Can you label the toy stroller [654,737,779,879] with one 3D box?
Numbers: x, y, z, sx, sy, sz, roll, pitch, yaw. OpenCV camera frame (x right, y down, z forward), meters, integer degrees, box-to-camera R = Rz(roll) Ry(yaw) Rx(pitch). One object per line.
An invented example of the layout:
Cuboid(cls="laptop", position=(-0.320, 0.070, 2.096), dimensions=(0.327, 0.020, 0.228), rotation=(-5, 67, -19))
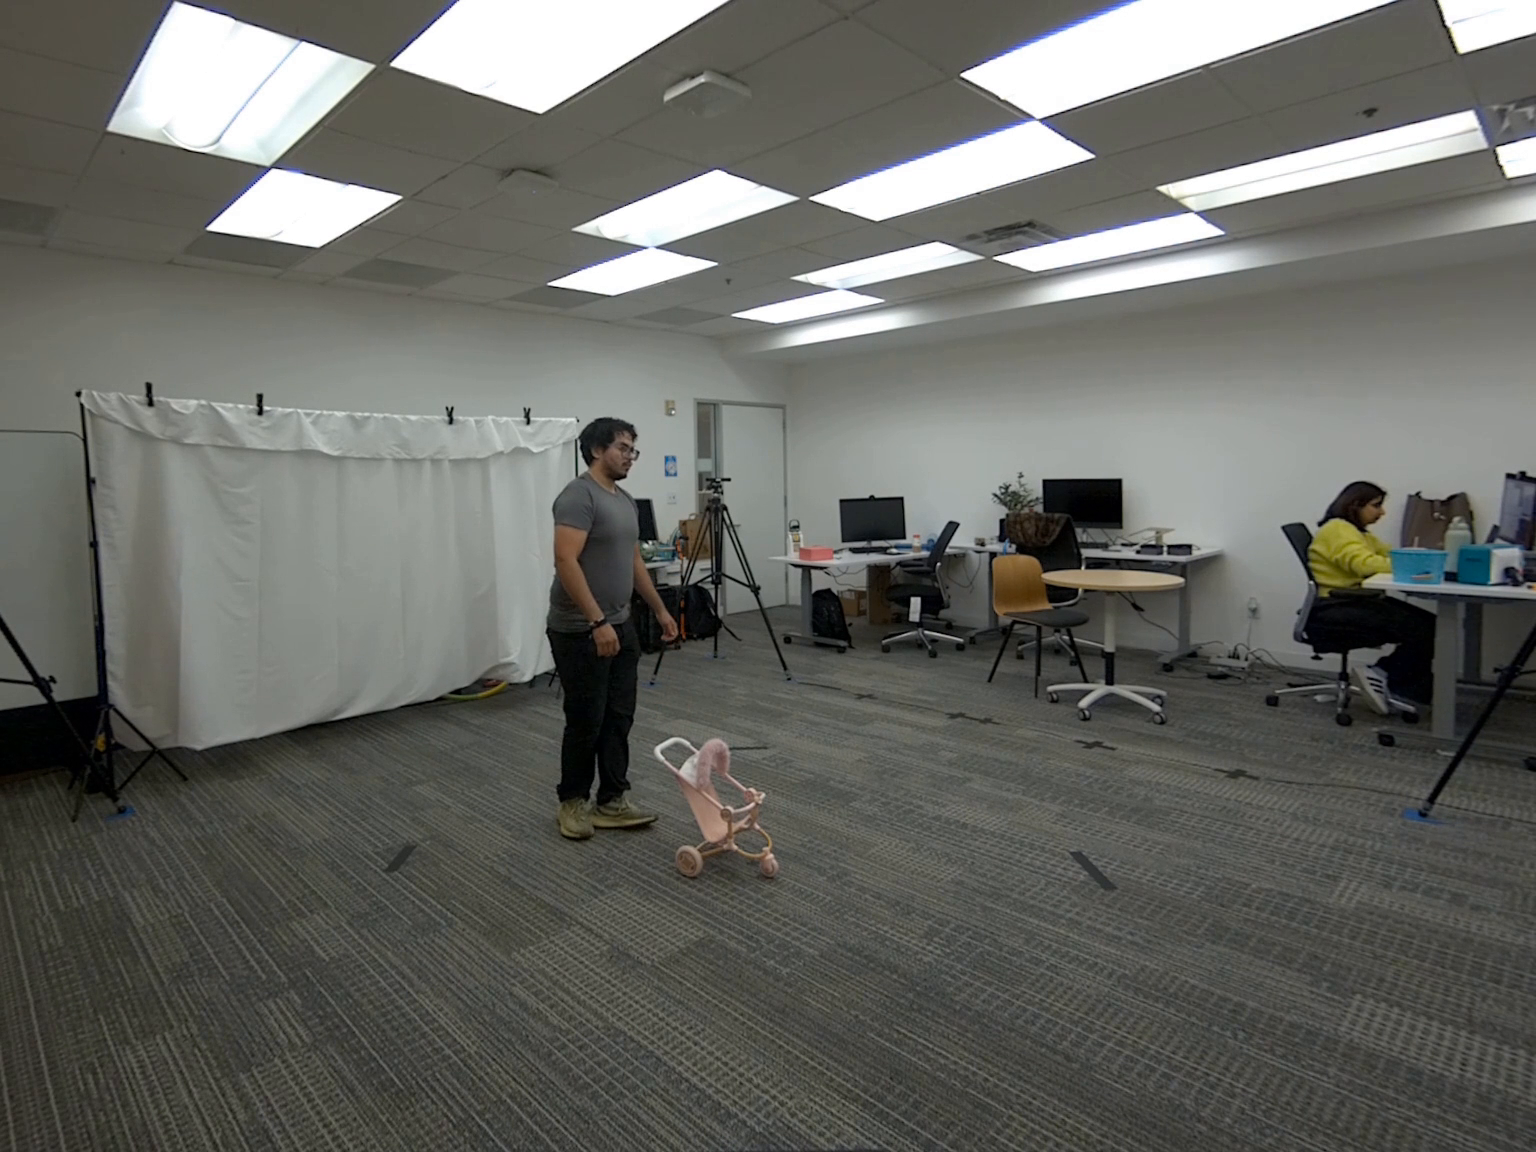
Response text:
Cuboid(cls="toy stroller", position=(-0.170, 0.825, 3.071), dimensions=(0.347, 0.538, 0.275), rotation=(-18, -6, 31))
